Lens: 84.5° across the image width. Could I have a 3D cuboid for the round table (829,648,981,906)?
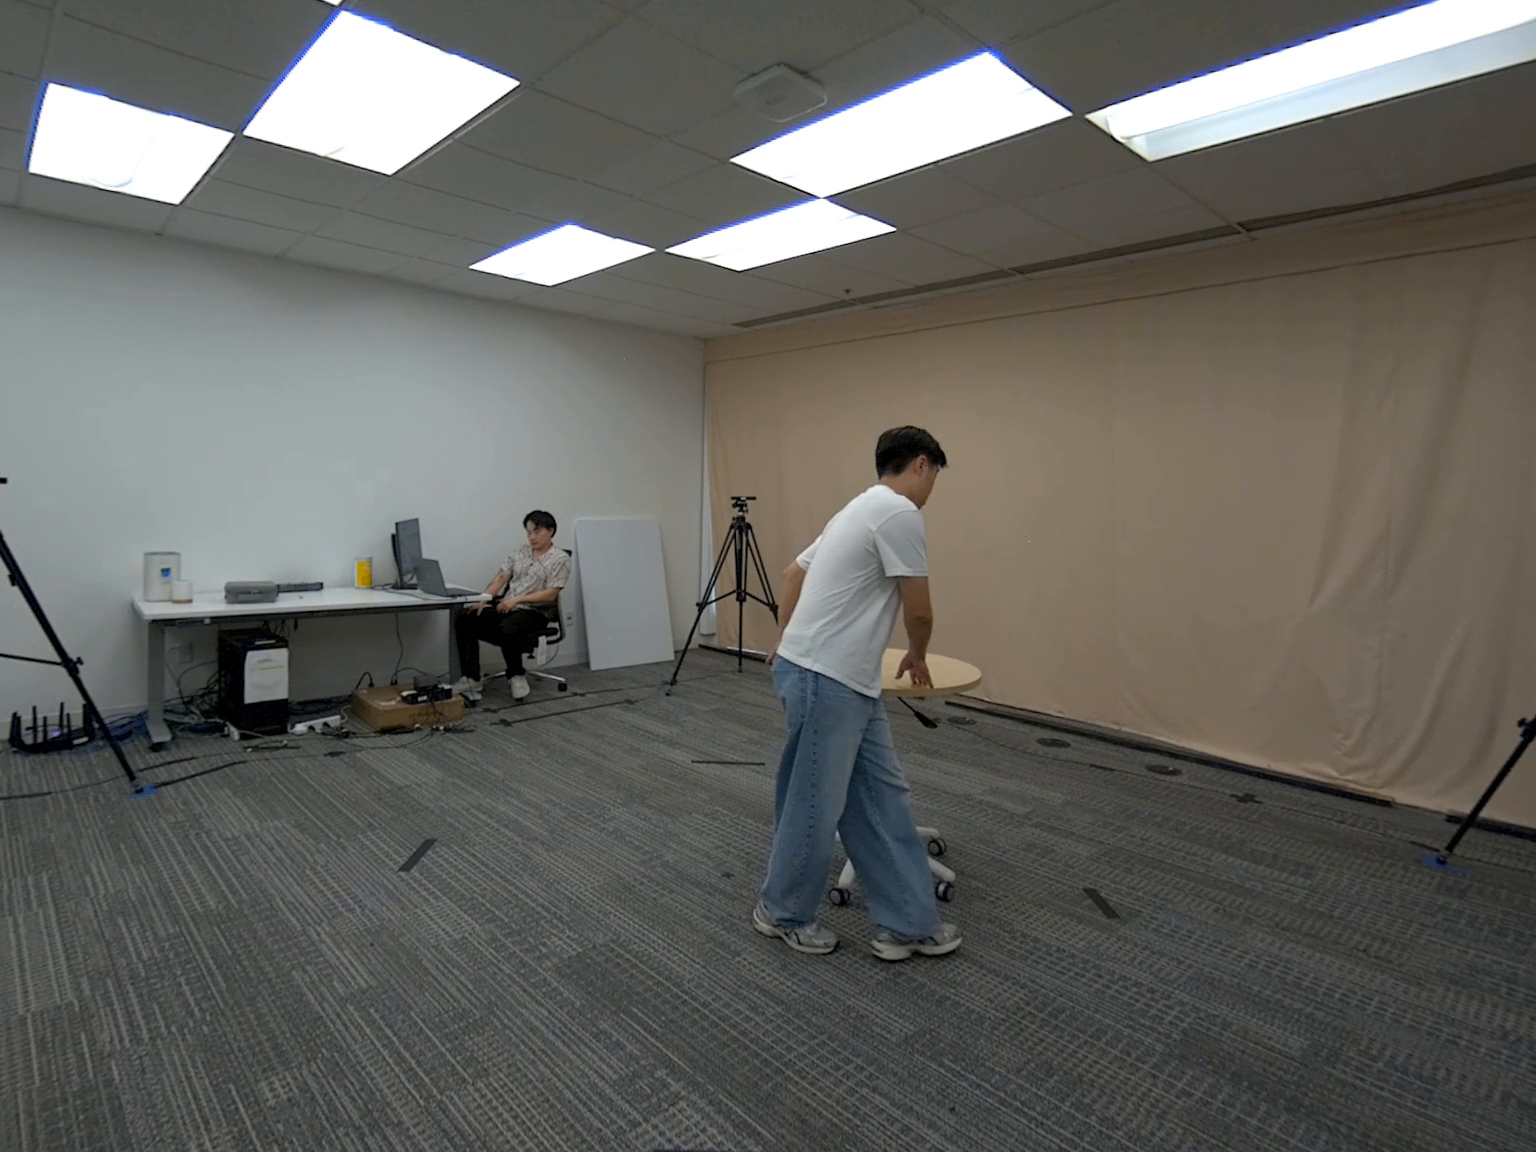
[{"bbox_3d":[0.391,0.730,3.171,0.763,0.792,0.767,2,4,-1],"label":"round table"}]
